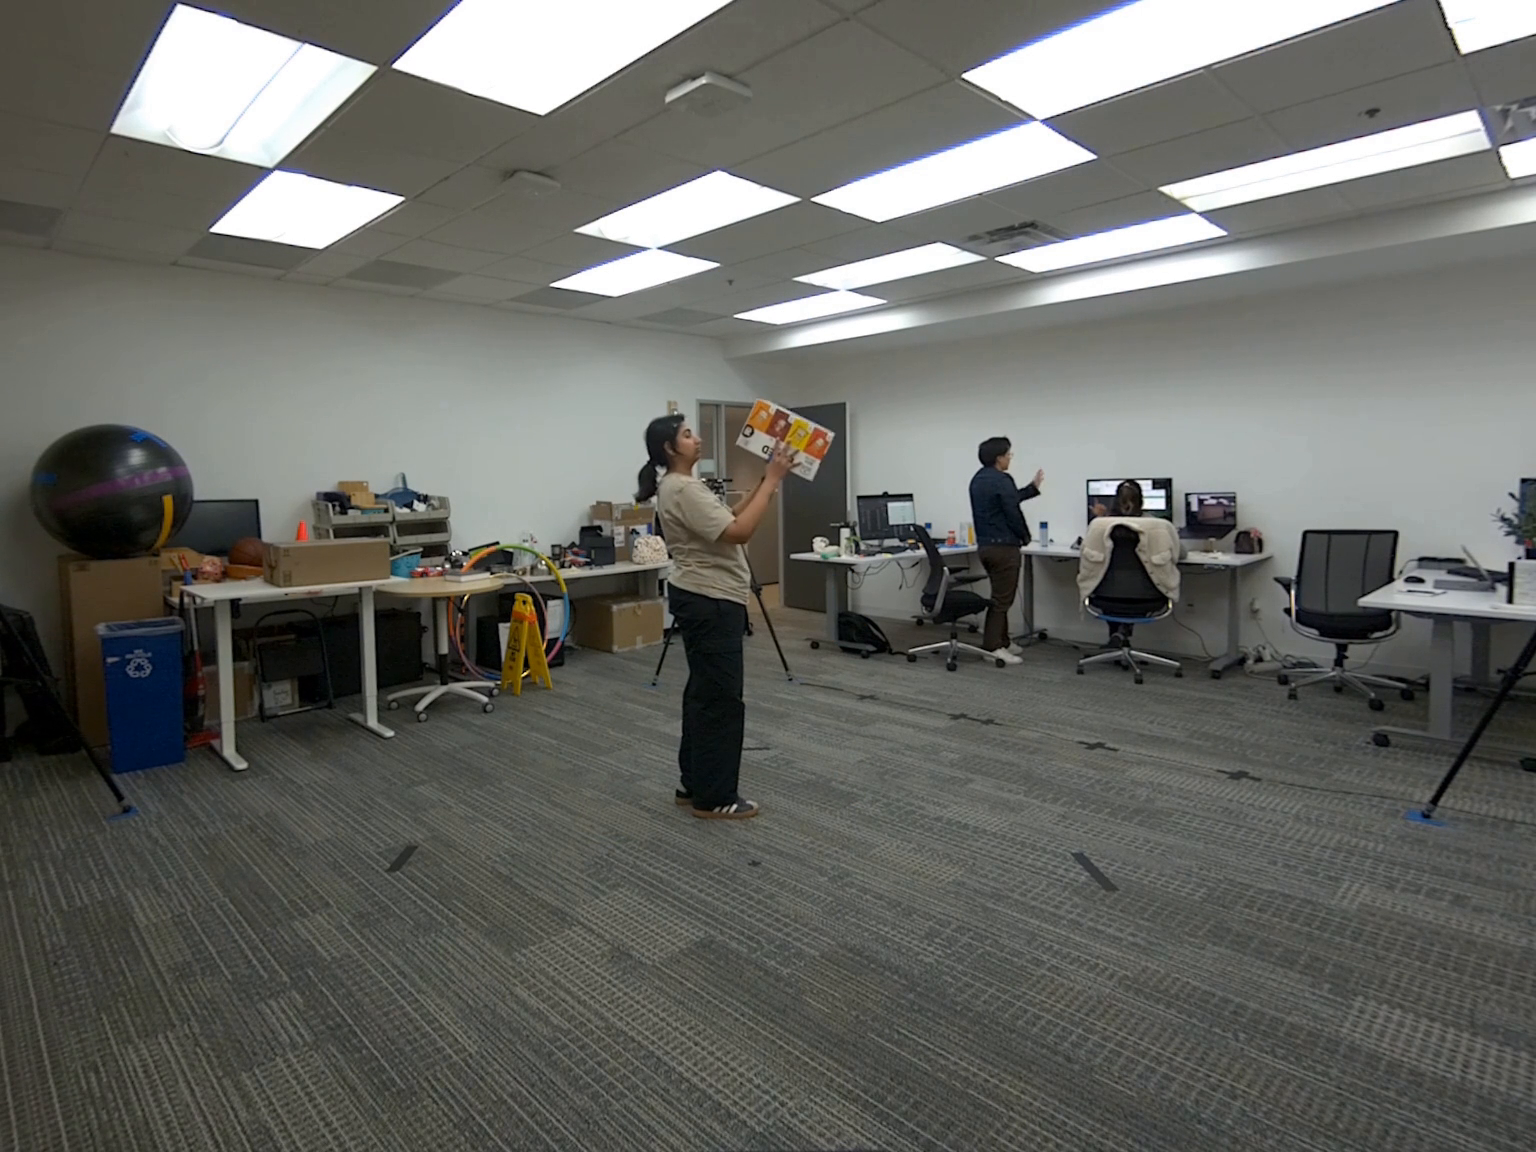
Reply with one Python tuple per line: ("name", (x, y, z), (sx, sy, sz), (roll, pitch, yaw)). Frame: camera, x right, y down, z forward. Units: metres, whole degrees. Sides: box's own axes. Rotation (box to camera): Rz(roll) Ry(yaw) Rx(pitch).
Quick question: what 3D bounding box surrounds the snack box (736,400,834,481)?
("snack box", (0.083, -0.589, 3.595), (0.341, 0.205, 0.406), (26, 12, 1))
